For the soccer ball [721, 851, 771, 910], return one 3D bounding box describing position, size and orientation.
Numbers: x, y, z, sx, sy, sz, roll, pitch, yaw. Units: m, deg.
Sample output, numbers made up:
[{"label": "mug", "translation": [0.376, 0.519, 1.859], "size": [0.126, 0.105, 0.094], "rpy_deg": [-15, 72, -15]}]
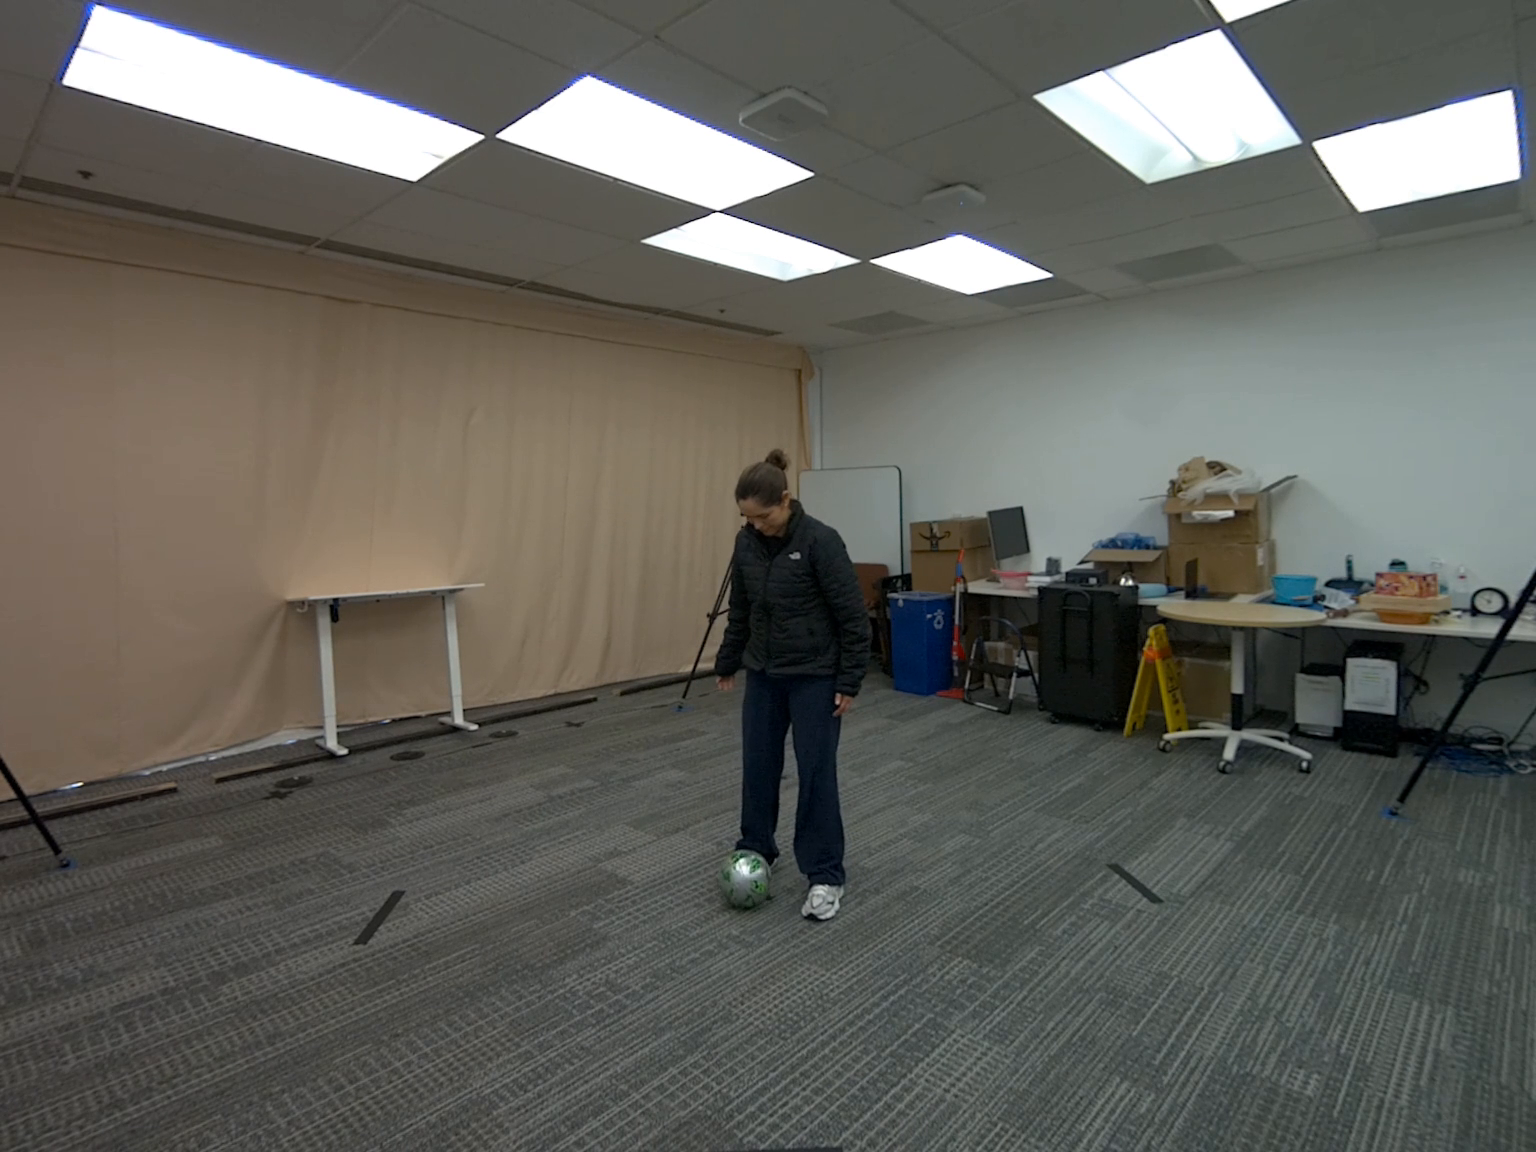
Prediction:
[{"label": "soccer ball", "translation": [-0.079, 1.046, 2.934], "size": [0.187, 0.187, 0.188], "rpy_deg": [-1, 4, -2]}]
